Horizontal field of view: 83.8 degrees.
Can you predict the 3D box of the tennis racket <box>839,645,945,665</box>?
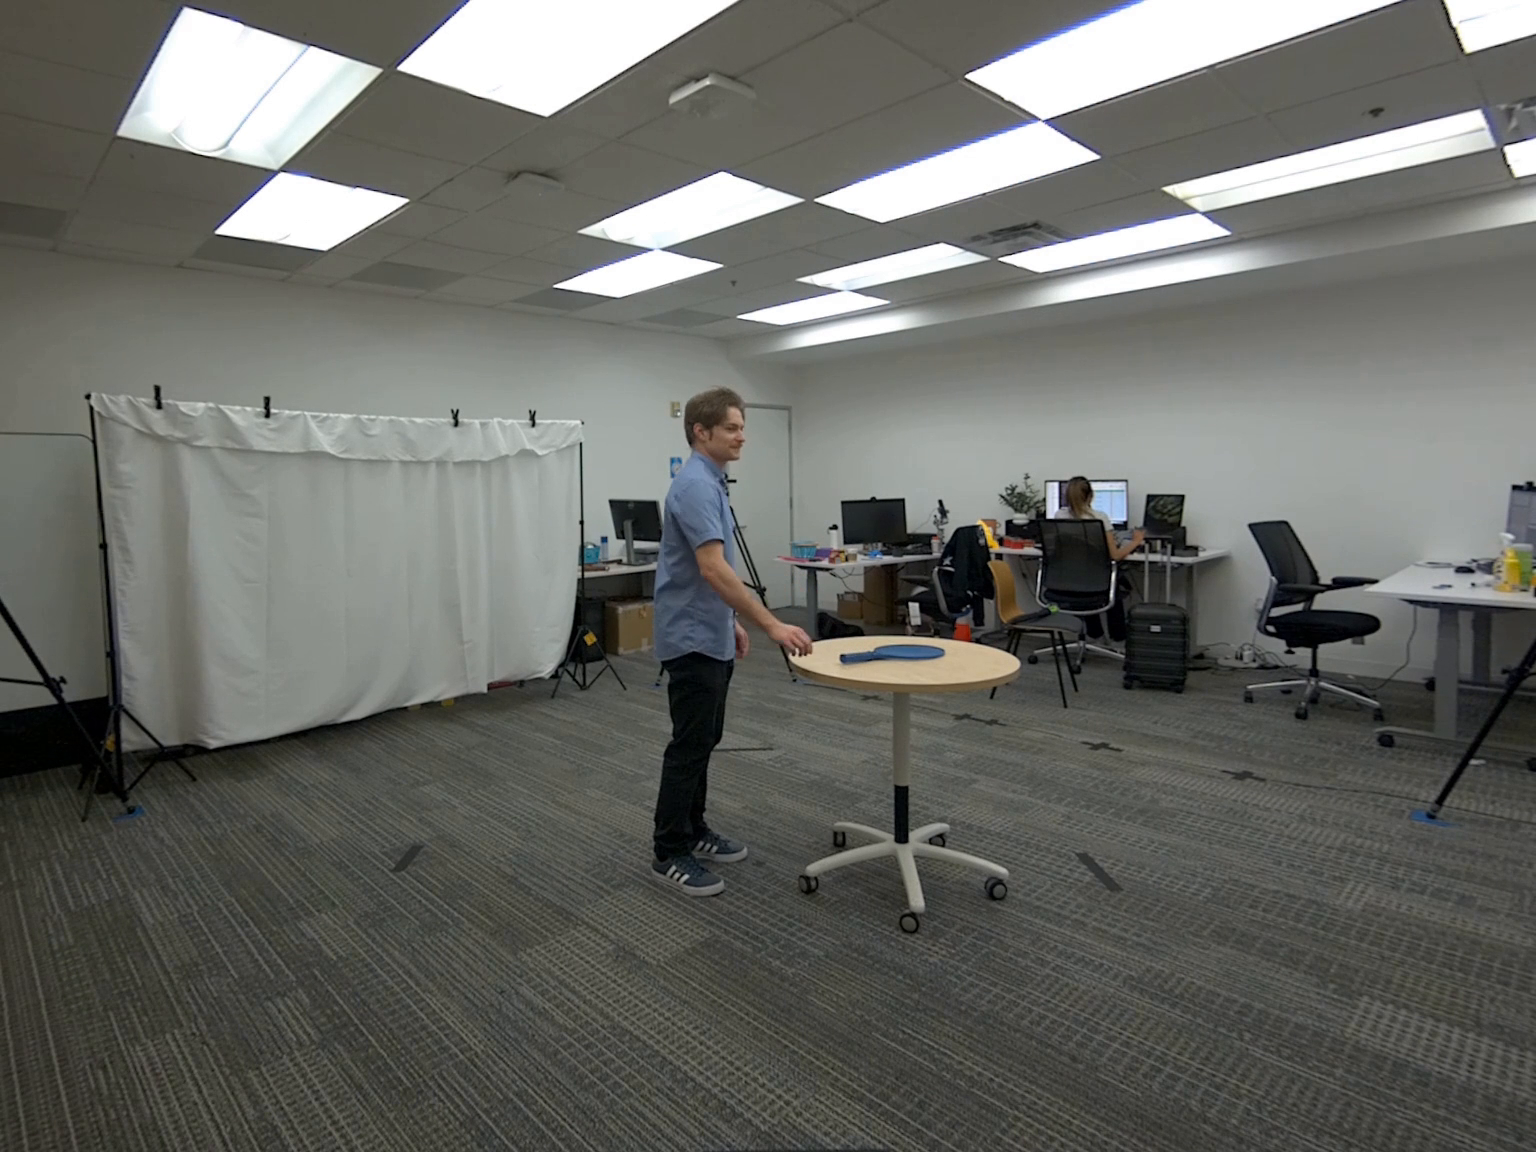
[{"bbox_3d":[0.427,0.265,2.914,0.422,0.031,0.220,-3,8,-34],"label":"tennis racket"}]
